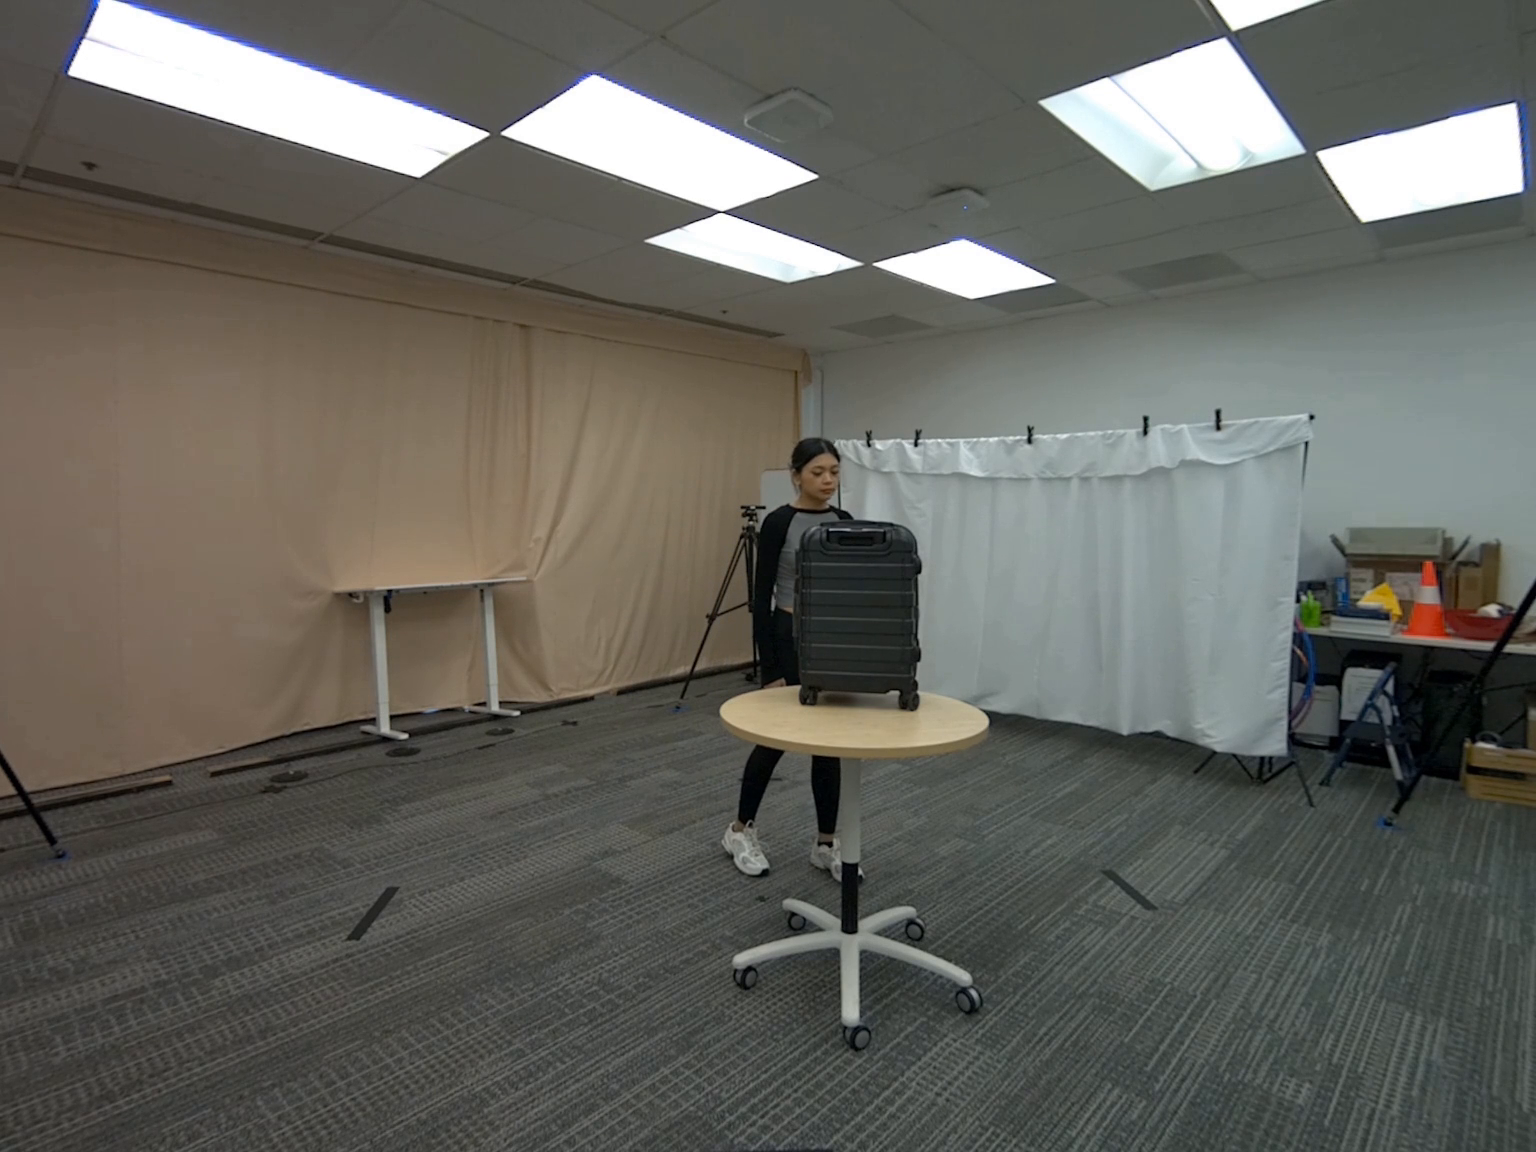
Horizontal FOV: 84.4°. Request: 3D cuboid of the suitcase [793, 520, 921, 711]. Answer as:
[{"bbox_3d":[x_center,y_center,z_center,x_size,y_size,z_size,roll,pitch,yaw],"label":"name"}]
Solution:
[{"bbox_3d":[0.272,0.106,2.585,0.380,0.548,0.246,0,3,11],"label":"suitcase"}]
